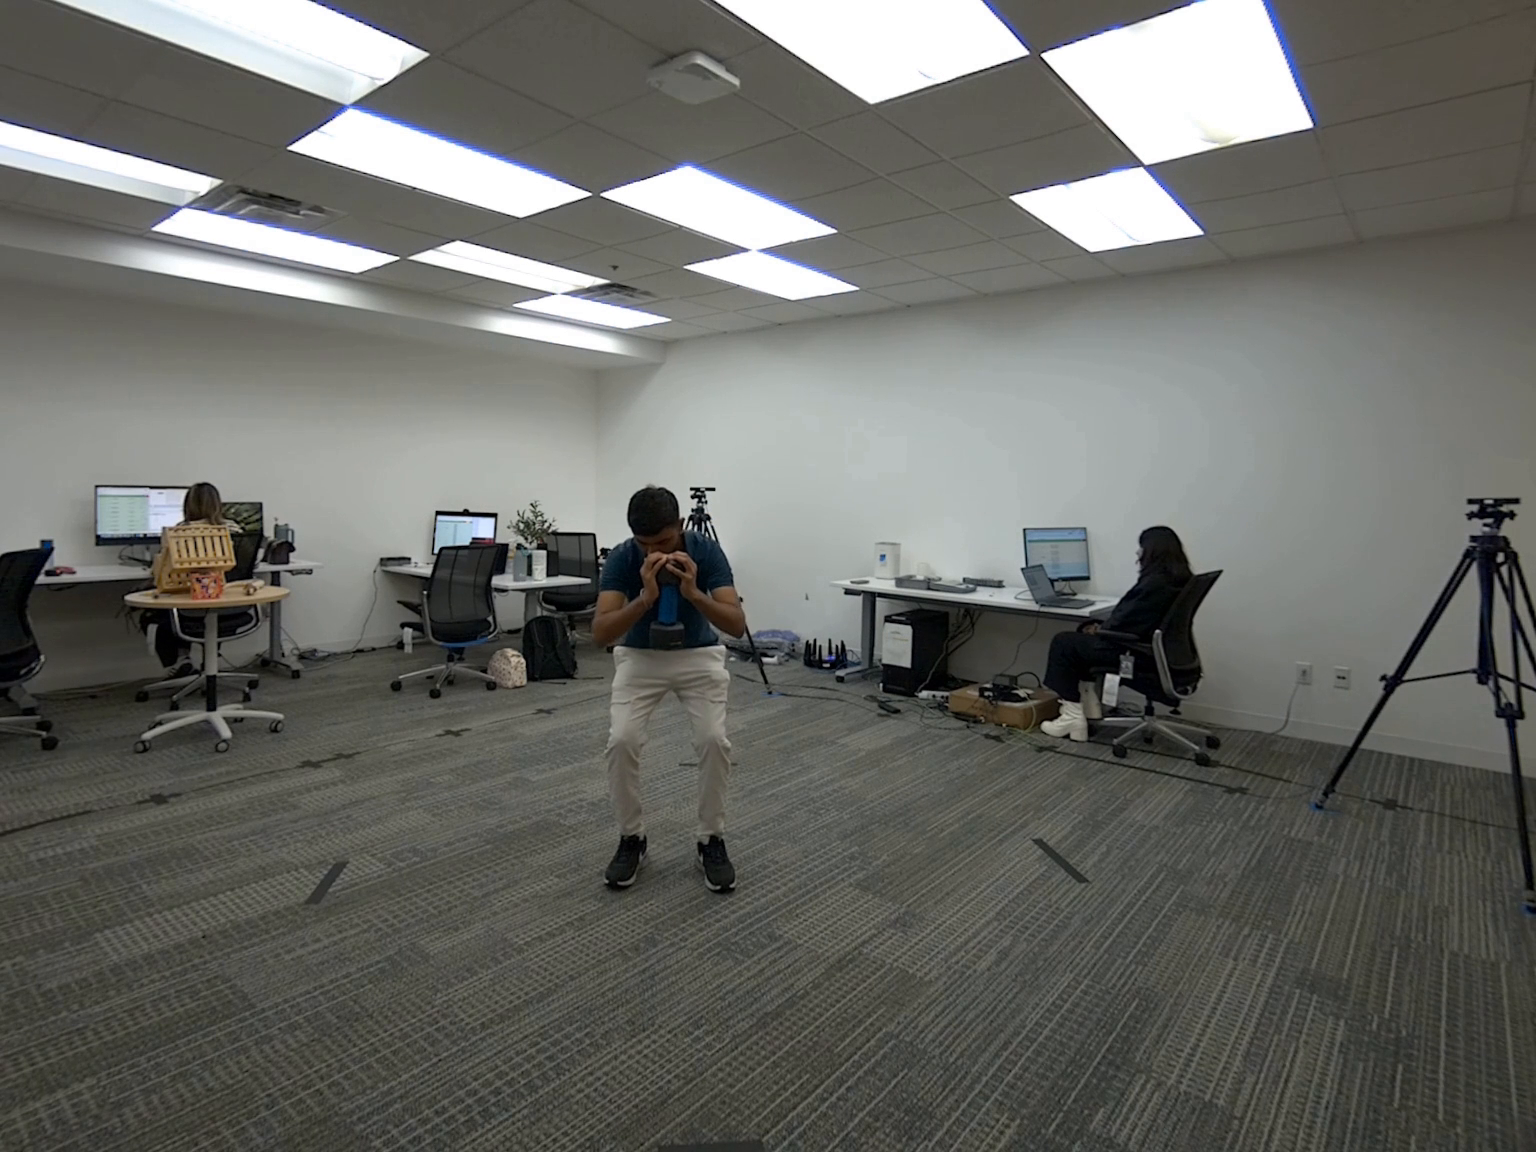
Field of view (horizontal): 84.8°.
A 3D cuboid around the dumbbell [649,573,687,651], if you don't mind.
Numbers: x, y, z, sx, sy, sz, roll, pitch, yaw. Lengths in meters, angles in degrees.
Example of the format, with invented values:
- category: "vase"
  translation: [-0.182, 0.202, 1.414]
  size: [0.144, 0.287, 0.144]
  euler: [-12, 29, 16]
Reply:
- category: "dumbbell"
  translation: [-0.329, 0.085, 2.741]
  size: [0.108, 0.292, 0.124]
  euler: [2, 5, -8]
